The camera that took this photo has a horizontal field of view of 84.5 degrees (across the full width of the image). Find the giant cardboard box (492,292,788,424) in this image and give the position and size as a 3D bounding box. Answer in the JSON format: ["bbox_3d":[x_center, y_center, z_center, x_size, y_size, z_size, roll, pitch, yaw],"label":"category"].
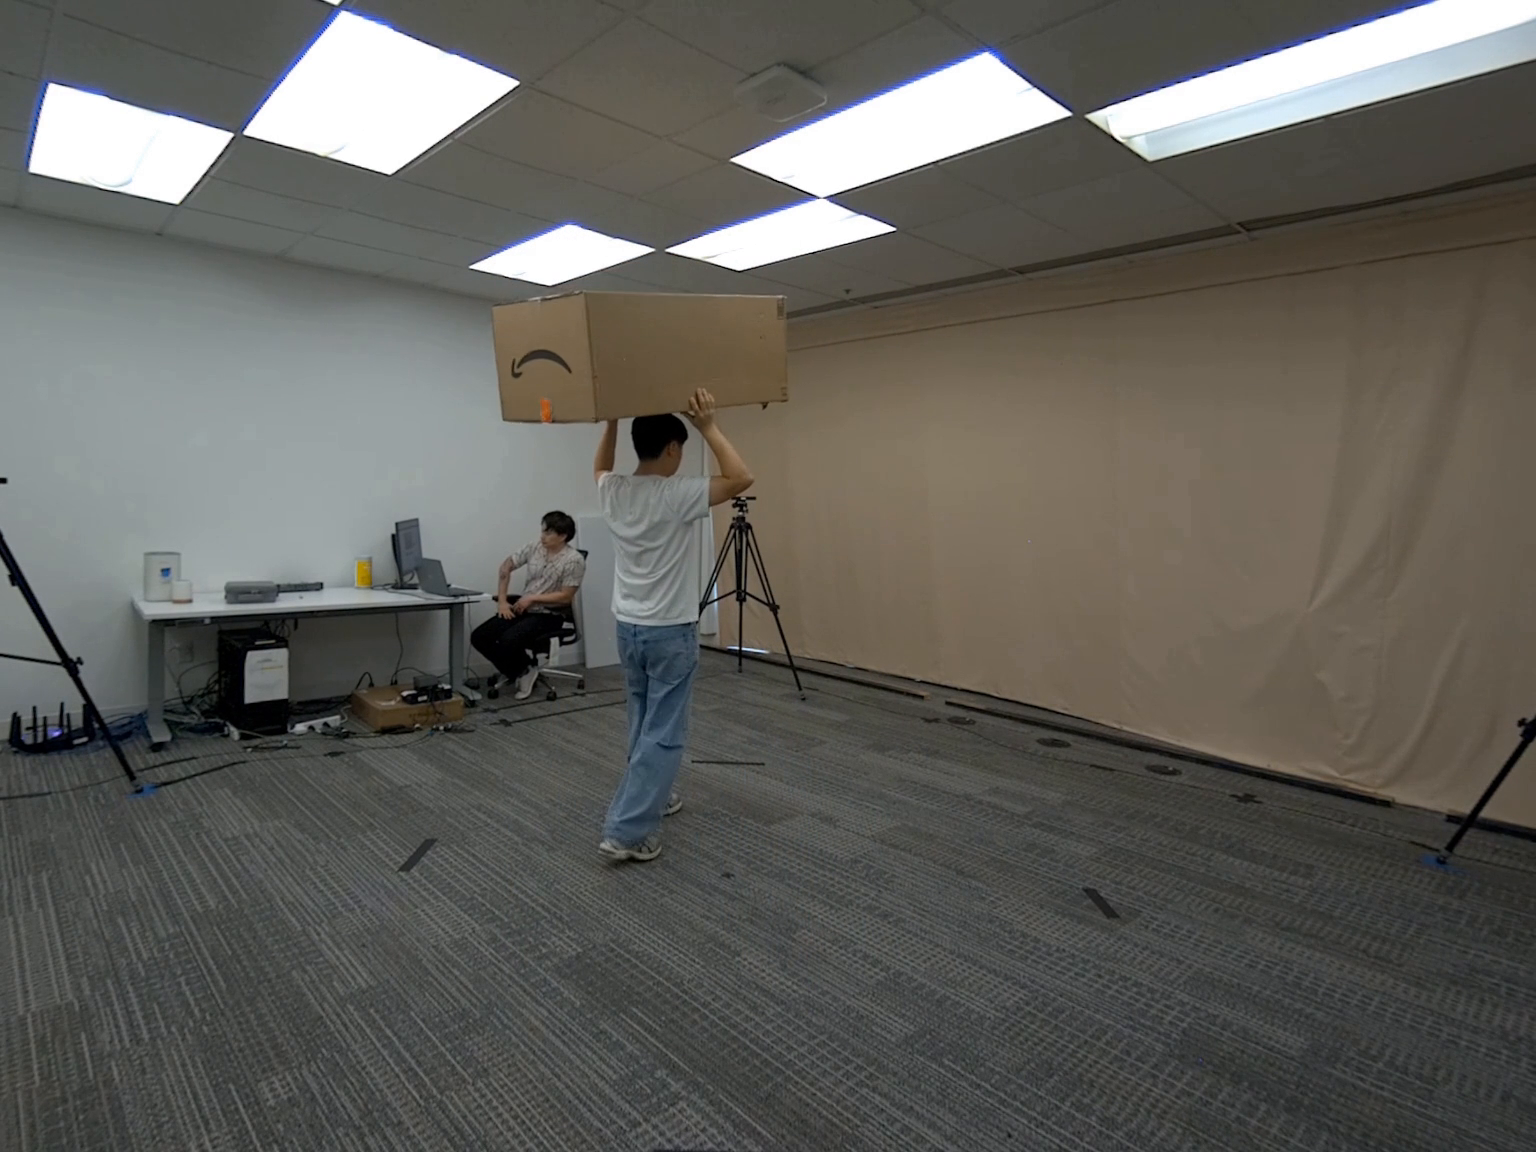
[{"bbox_3d":[-0.469,-0.858,3.300,0.593,0.422,1.009,9,19,41],"label":"giant cardboard box"}]
